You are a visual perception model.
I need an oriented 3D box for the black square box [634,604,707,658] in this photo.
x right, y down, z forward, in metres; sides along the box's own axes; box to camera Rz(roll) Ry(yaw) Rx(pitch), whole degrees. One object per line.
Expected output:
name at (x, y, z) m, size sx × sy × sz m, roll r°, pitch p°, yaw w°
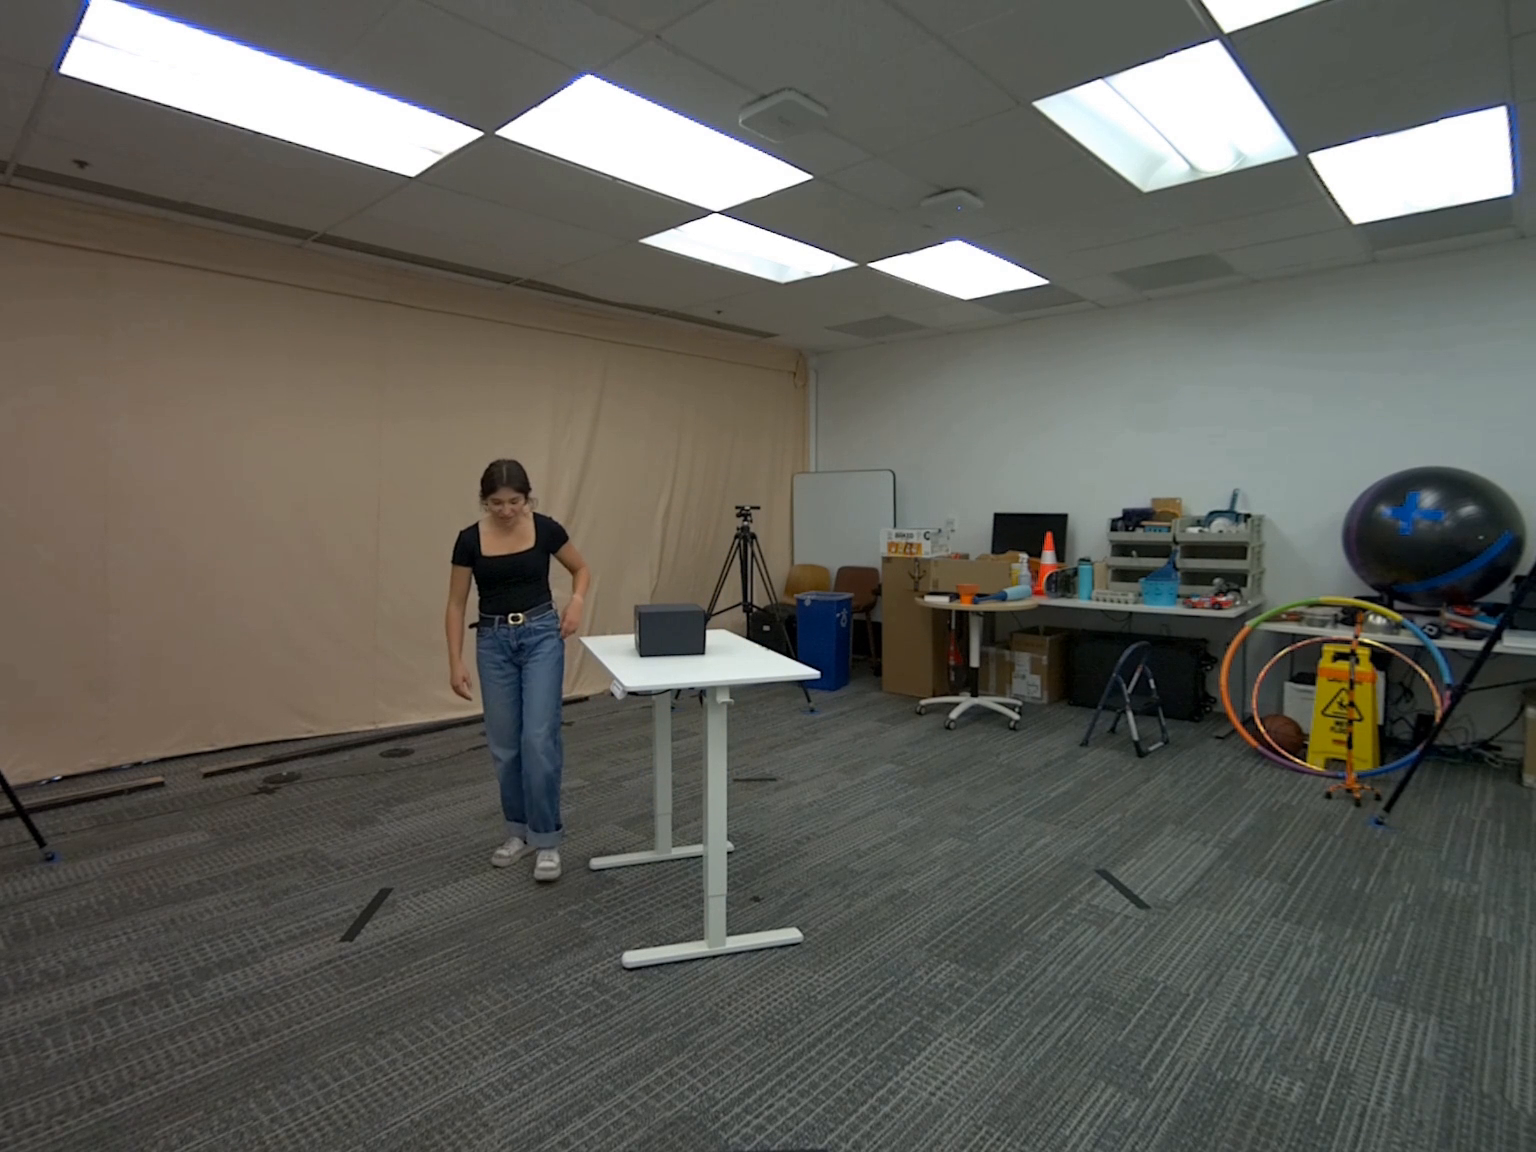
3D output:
black square box at (-0.346, 0.182, 2.966) m, size 0.225 × 0.155 × 0.220 m, roll -1°, pitch 4°, yaw -11°
